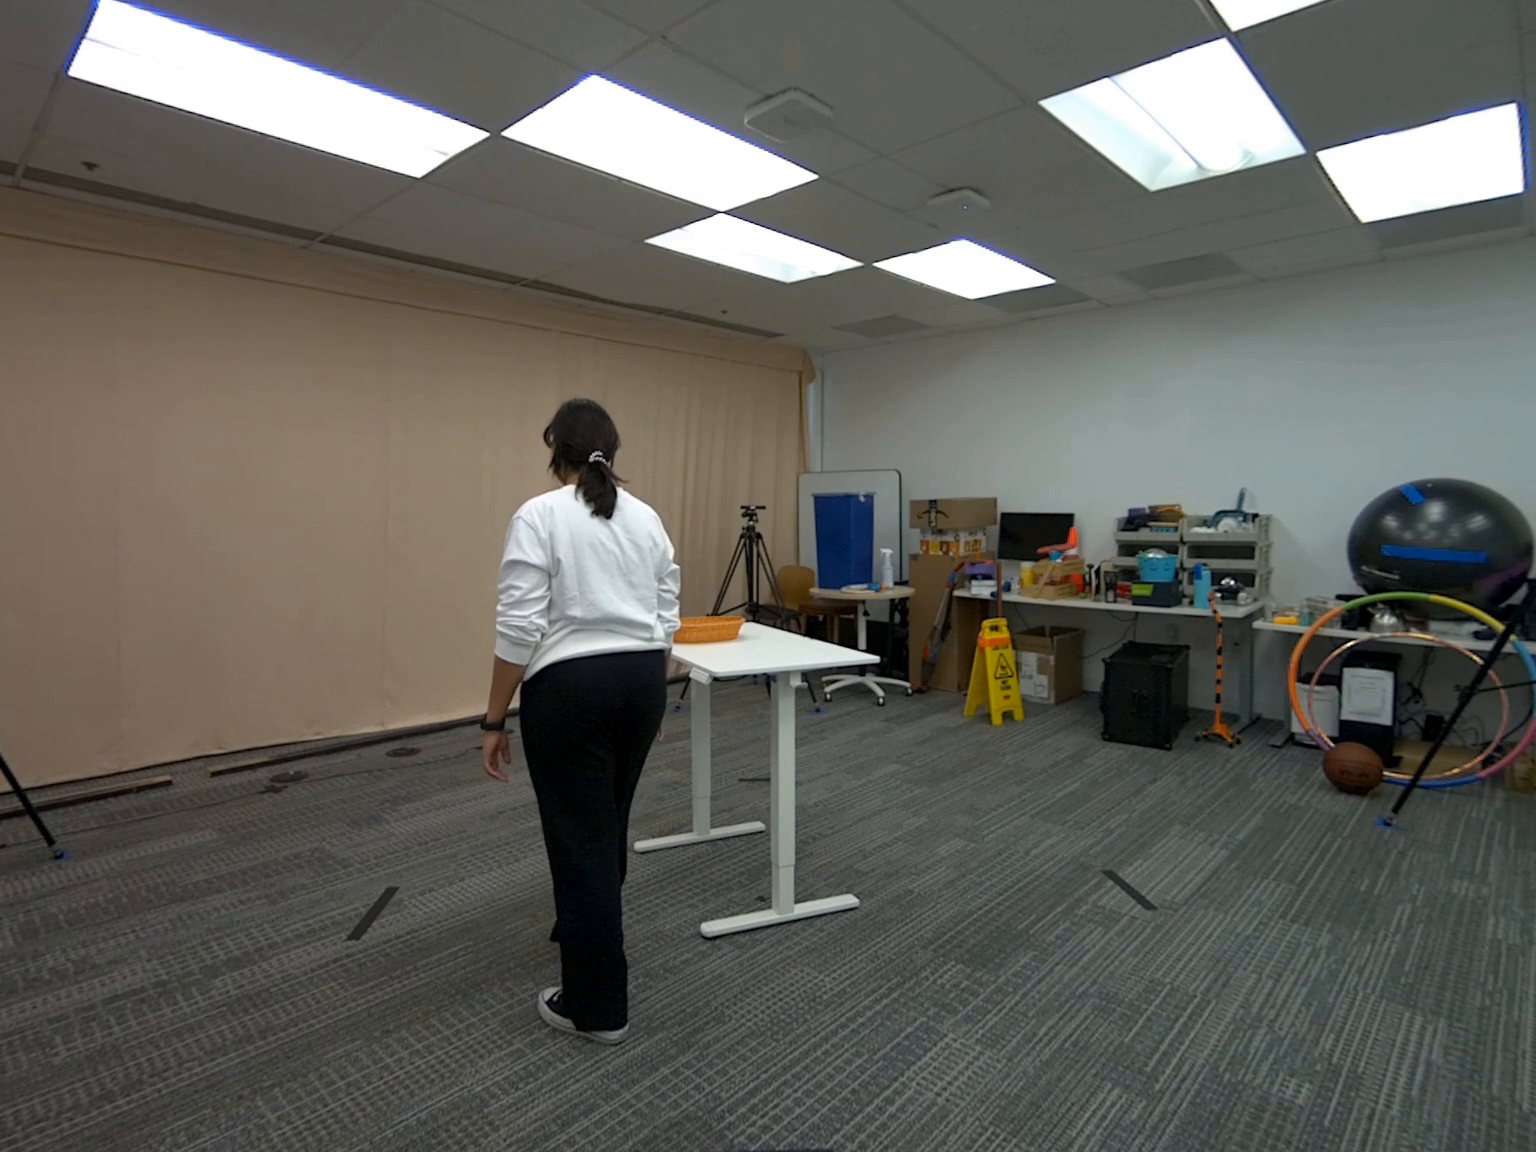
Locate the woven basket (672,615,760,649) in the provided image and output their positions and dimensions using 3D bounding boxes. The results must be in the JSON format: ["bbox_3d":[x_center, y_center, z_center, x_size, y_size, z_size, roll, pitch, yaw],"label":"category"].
[{"bbox_3d":[-0.252,0.209,3.232,0.341,0.073,0.260,-3,4,-31],"label":"woven basket"}]
